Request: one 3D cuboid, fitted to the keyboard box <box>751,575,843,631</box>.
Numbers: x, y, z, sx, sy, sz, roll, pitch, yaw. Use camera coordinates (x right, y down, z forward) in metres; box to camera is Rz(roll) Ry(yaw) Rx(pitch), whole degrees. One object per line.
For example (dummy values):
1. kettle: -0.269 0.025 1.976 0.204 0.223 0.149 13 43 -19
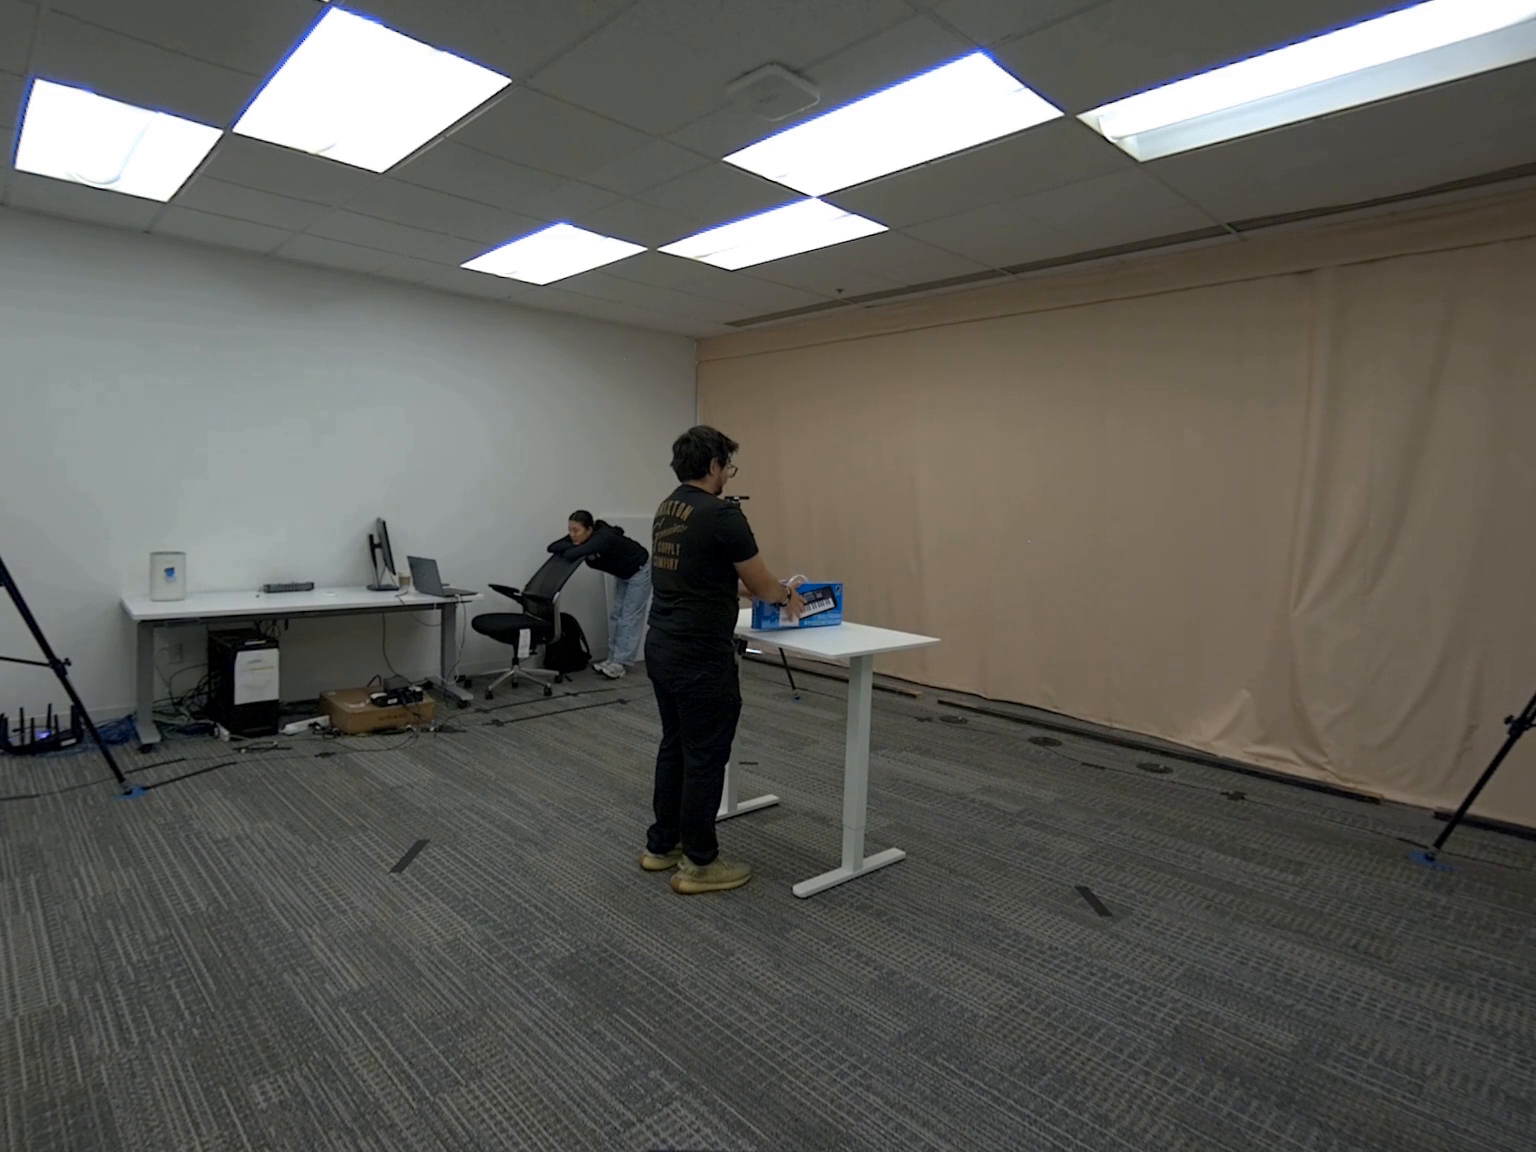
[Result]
1. keyboard box: 0.118 0.119 3.338 0.427 0.176 0.060 -2 2 -40
